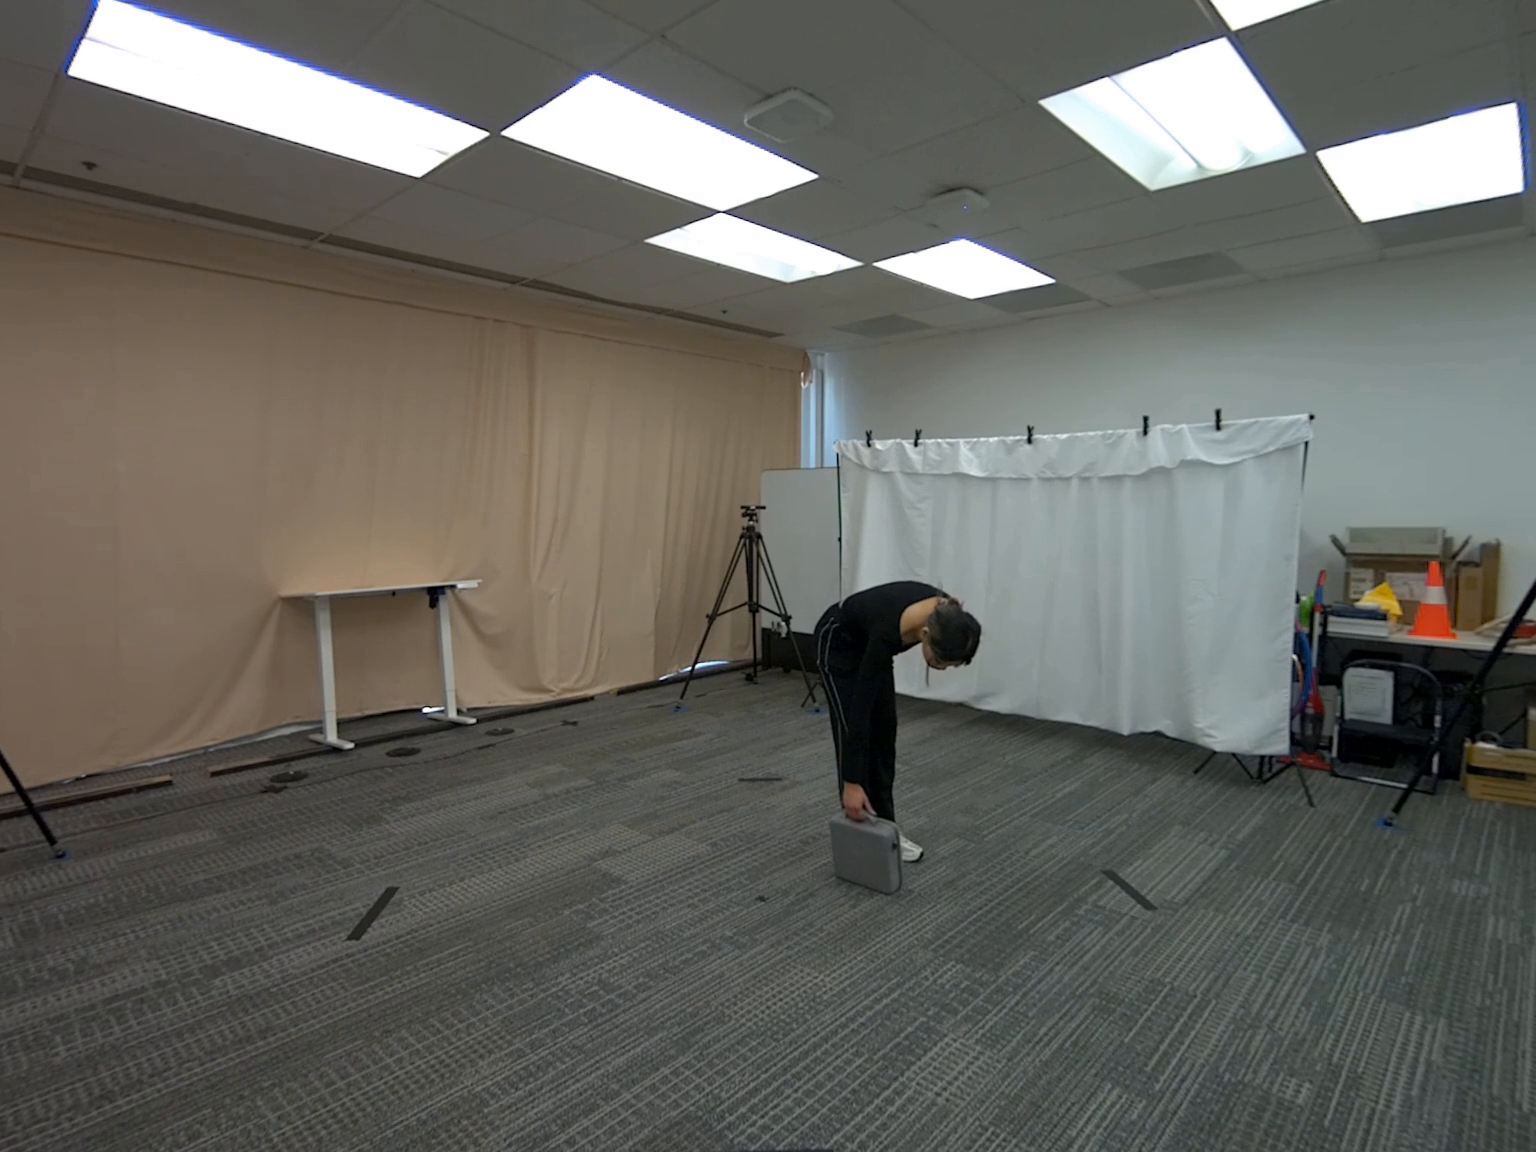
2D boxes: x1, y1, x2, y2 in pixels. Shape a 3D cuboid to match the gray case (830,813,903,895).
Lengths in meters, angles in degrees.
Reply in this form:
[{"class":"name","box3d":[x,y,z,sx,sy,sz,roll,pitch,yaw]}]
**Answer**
[{"class":"gray case","box3d":[0.361,0.997,3.081,0.265,0.258,0.102,4,15,41]}]
